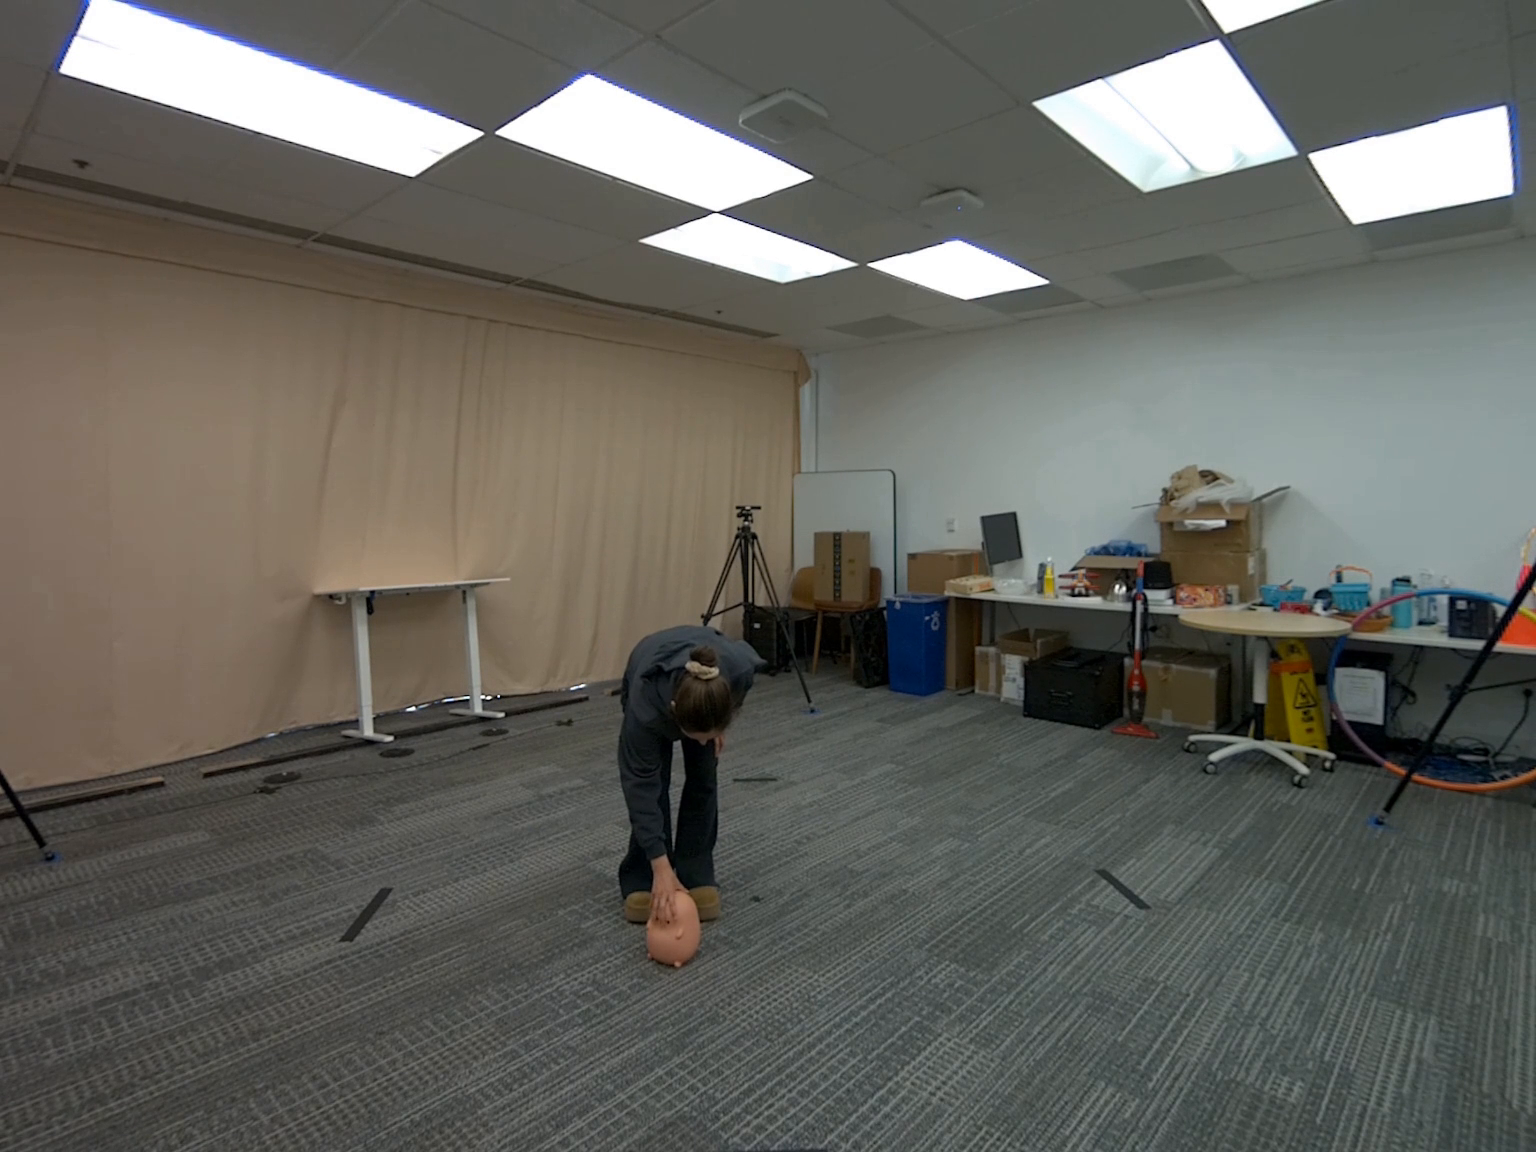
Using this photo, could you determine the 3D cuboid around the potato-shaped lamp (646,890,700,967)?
[{"bbox_3d":[-0.279,1.072,2.611,0.169,0.197,0.168,3,8,25],"label":"potato-shaped lamp"}]
